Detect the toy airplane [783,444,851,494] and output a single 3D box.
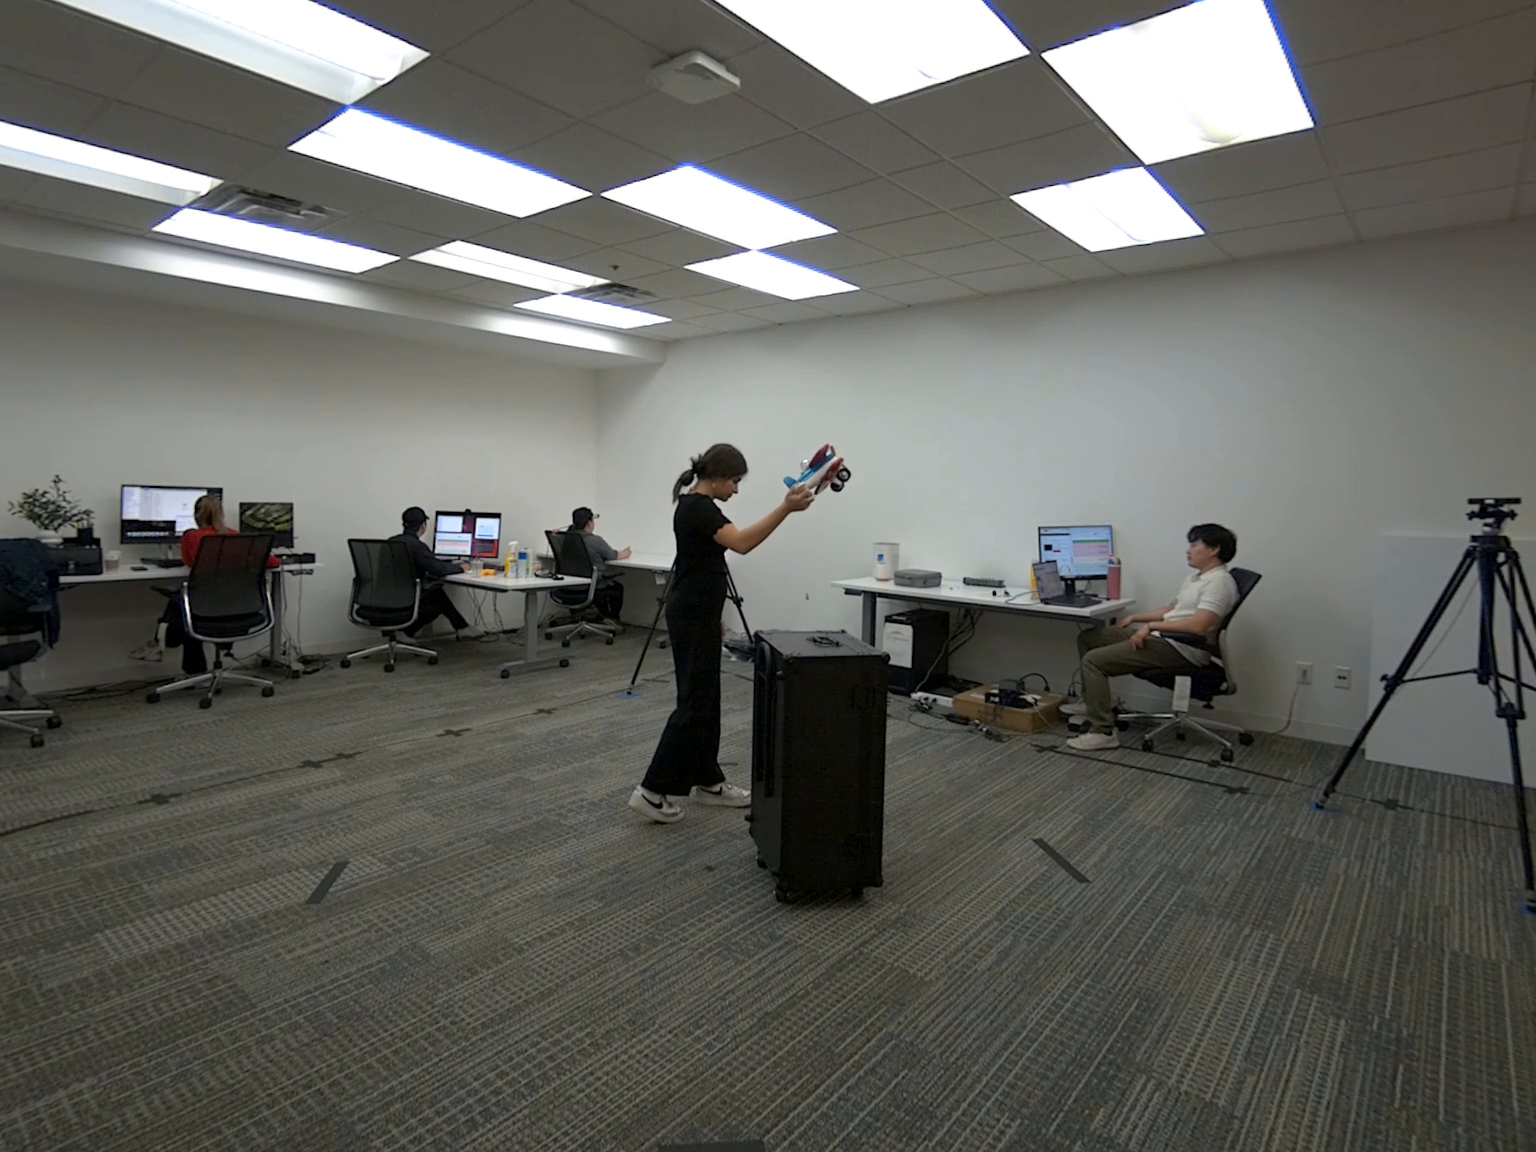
[{"bbox_3d":[0.186,-0.397,3.362,0.253,0.160,0.252,-13,-23,-48],"label":"toy airplane"}]
